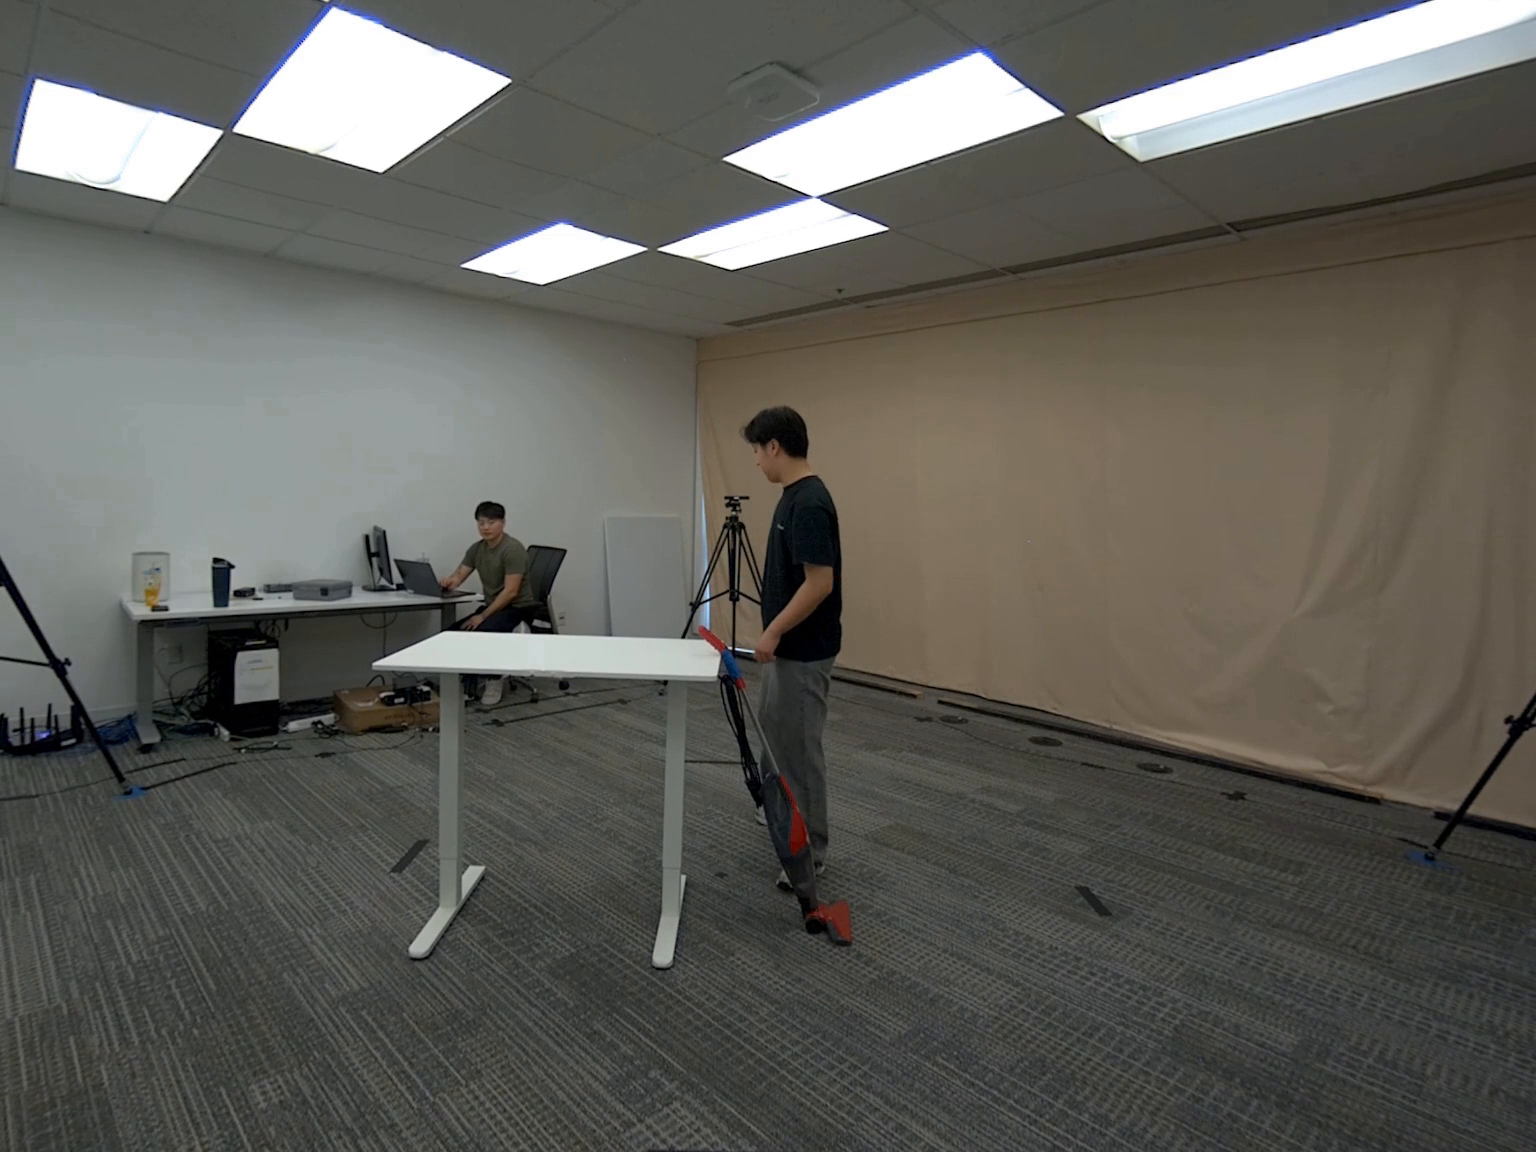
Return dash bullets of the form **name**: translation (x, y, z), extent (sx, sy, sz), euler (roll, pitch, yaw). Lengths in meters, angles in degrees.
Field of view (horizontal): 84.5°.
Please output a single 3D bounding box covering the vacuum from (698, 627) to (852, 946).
- **vacuum**: translation (-0.019, 0.656, 2.745), extent (0.144, 1.050, 0.252), euler (-23, -1, 1)
